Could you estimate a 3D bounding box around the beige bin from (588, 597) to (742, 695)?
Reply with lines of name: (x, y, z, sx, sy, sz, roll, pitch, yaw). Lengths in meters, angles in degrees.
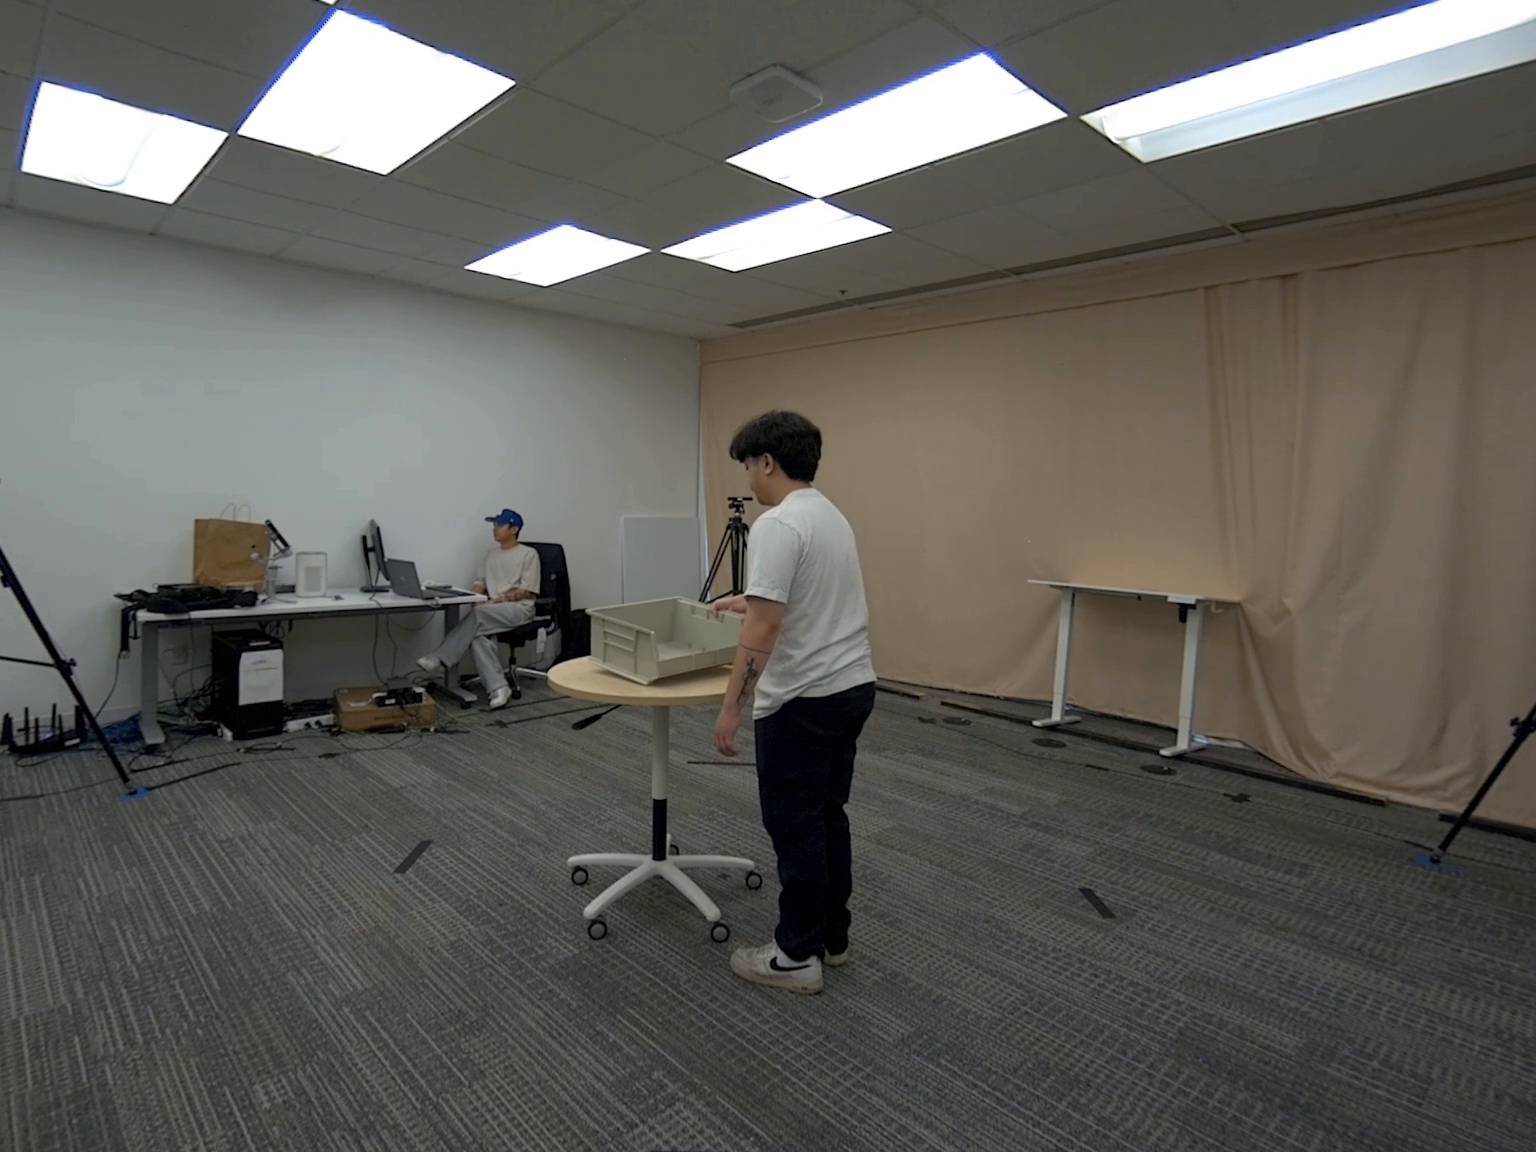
beige bin: (-0.341, 0.218, 2.865, 0.388, 0.188, 0.413, 11, 14, 42)
